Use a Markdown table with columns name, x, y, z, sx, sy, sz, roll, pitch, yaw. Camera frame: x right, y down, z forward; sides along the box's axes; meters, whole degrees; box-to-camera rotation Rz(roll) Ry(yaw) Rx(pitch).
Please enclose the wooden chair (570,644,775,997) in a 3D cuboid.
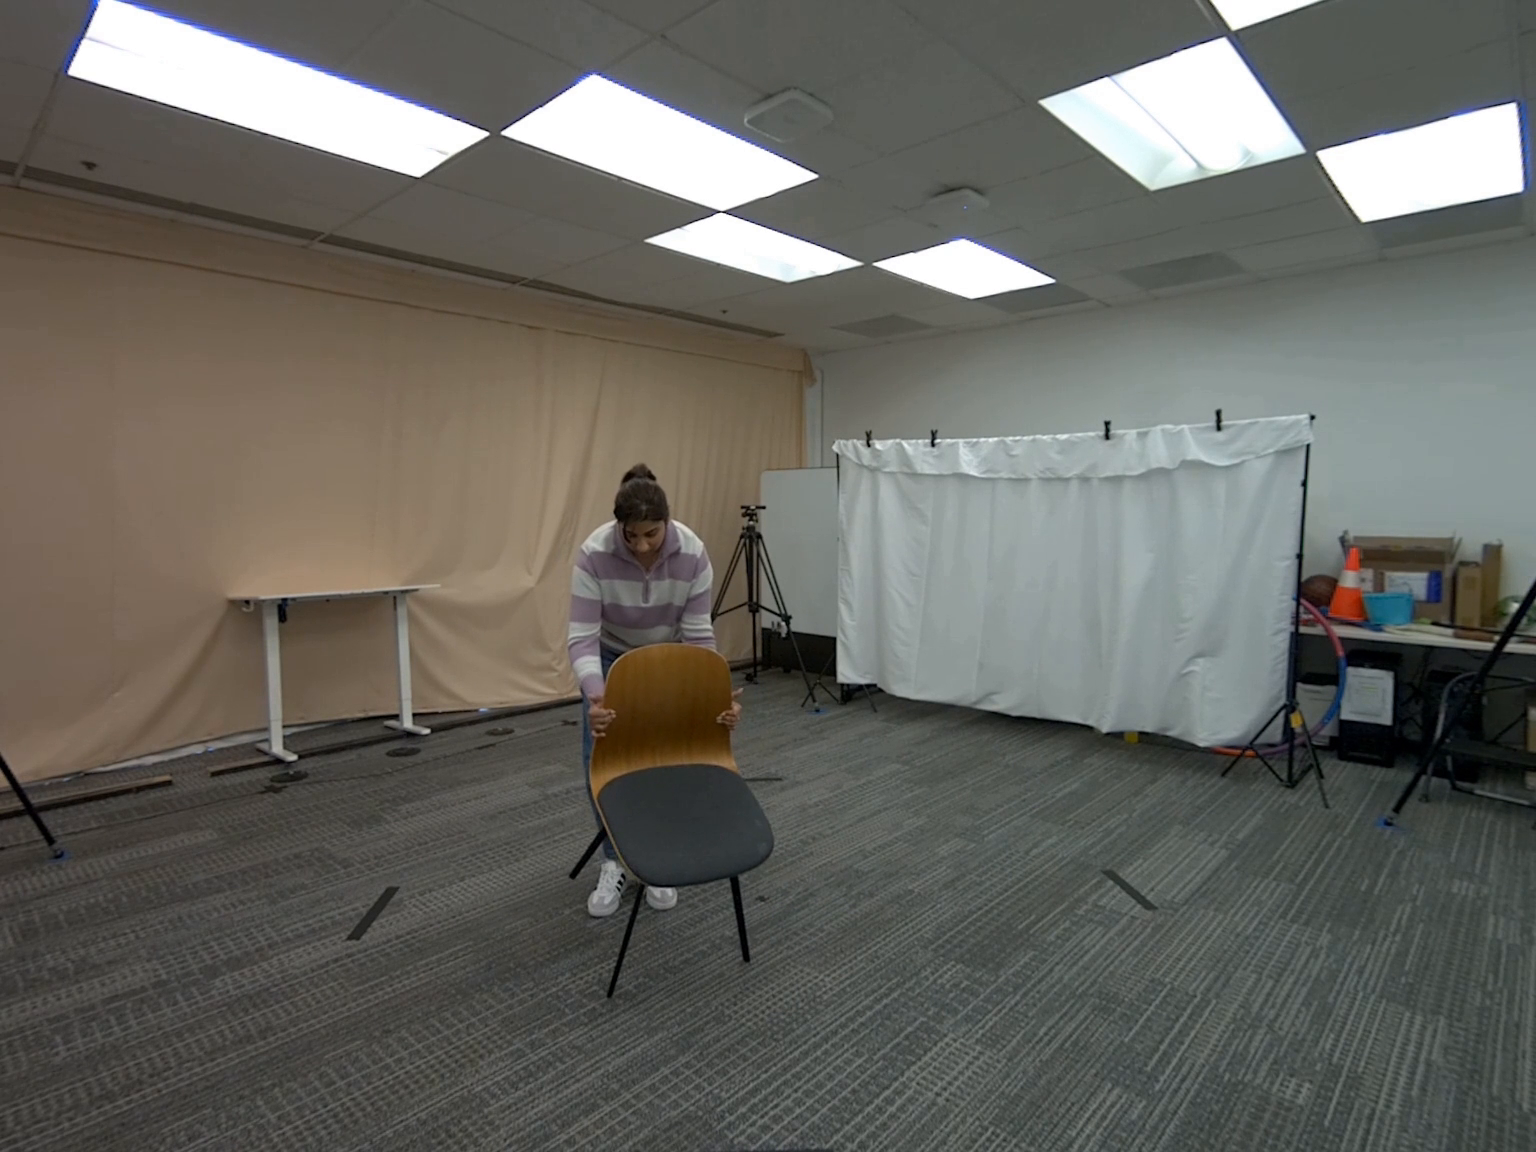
| name | x | y | z | sx | sy | sz | roll | pitch | yaw |
| --- | --- | --- | --- | --- | --- | --- | --- | --- | --- |
| wooden chair | -0.257 | 0.709 | 2.468 | 0.467 | 0.869 | 0.541 | -2 | 23 | -26 |
